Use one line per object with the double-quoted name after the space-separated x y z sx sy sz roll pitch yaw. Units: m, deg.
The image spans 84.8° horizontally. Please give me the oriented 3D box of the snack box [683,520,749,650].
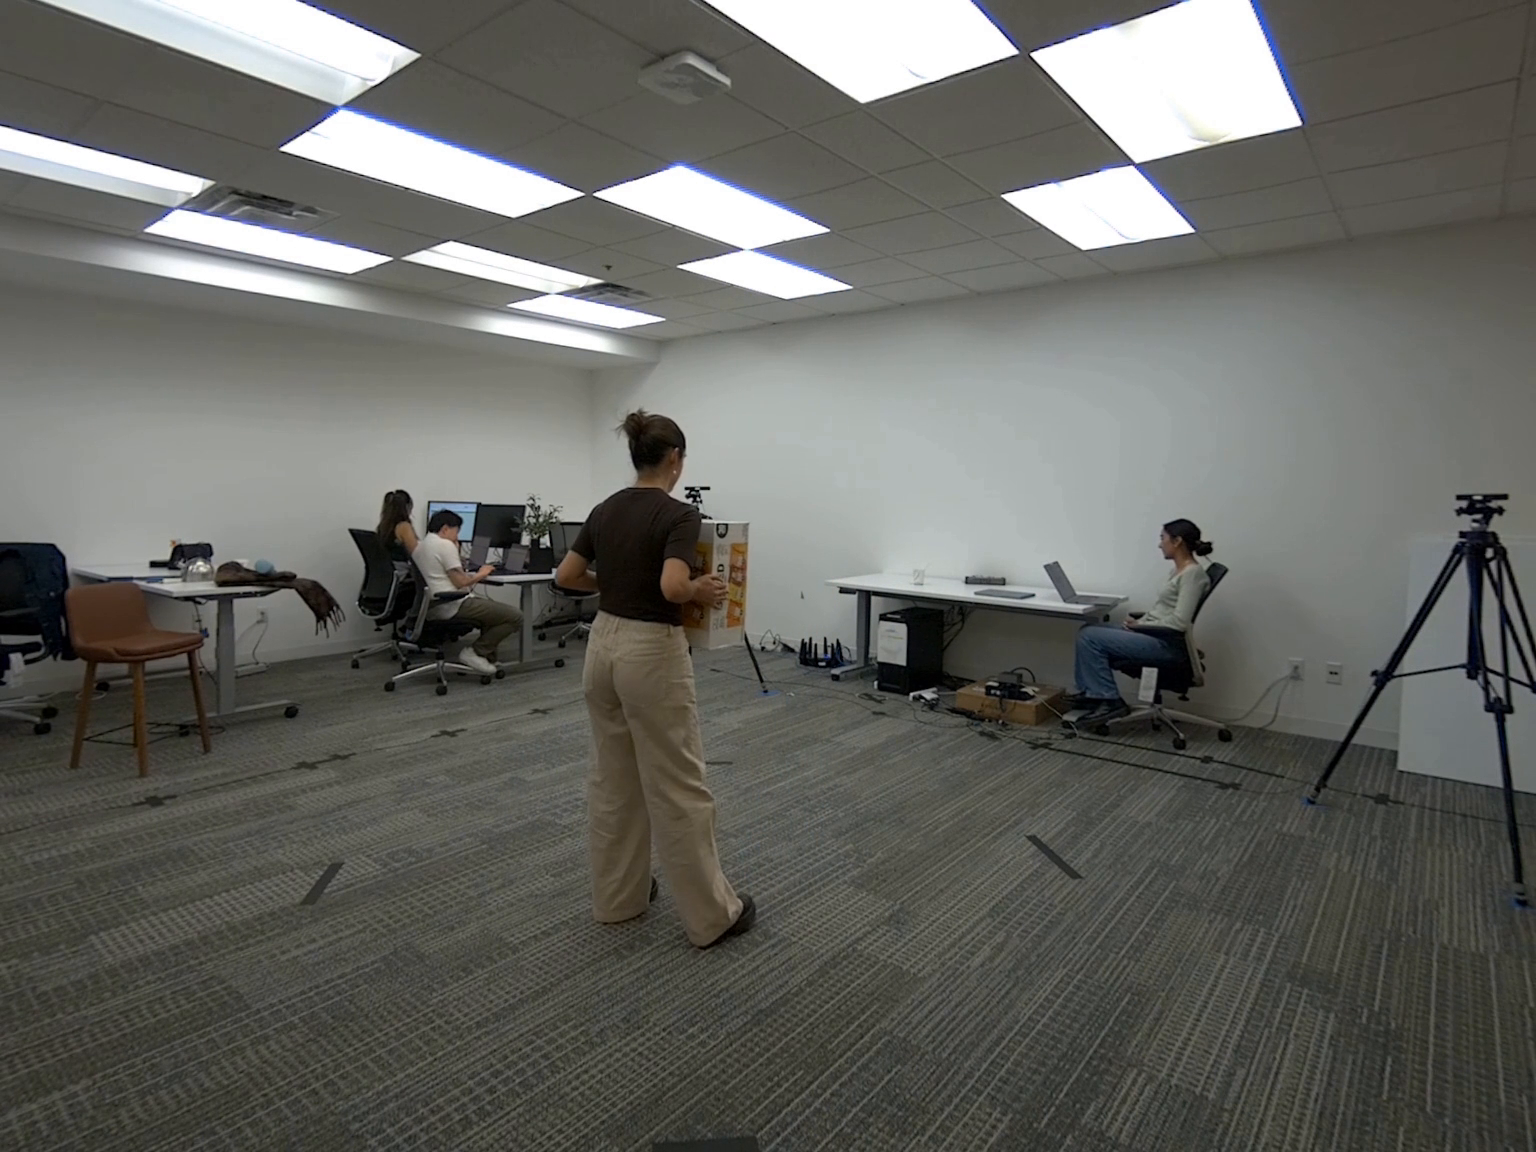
-0.268 0.010 2.841 0.352 0.404 0.199 6 4 36 "snack box"
